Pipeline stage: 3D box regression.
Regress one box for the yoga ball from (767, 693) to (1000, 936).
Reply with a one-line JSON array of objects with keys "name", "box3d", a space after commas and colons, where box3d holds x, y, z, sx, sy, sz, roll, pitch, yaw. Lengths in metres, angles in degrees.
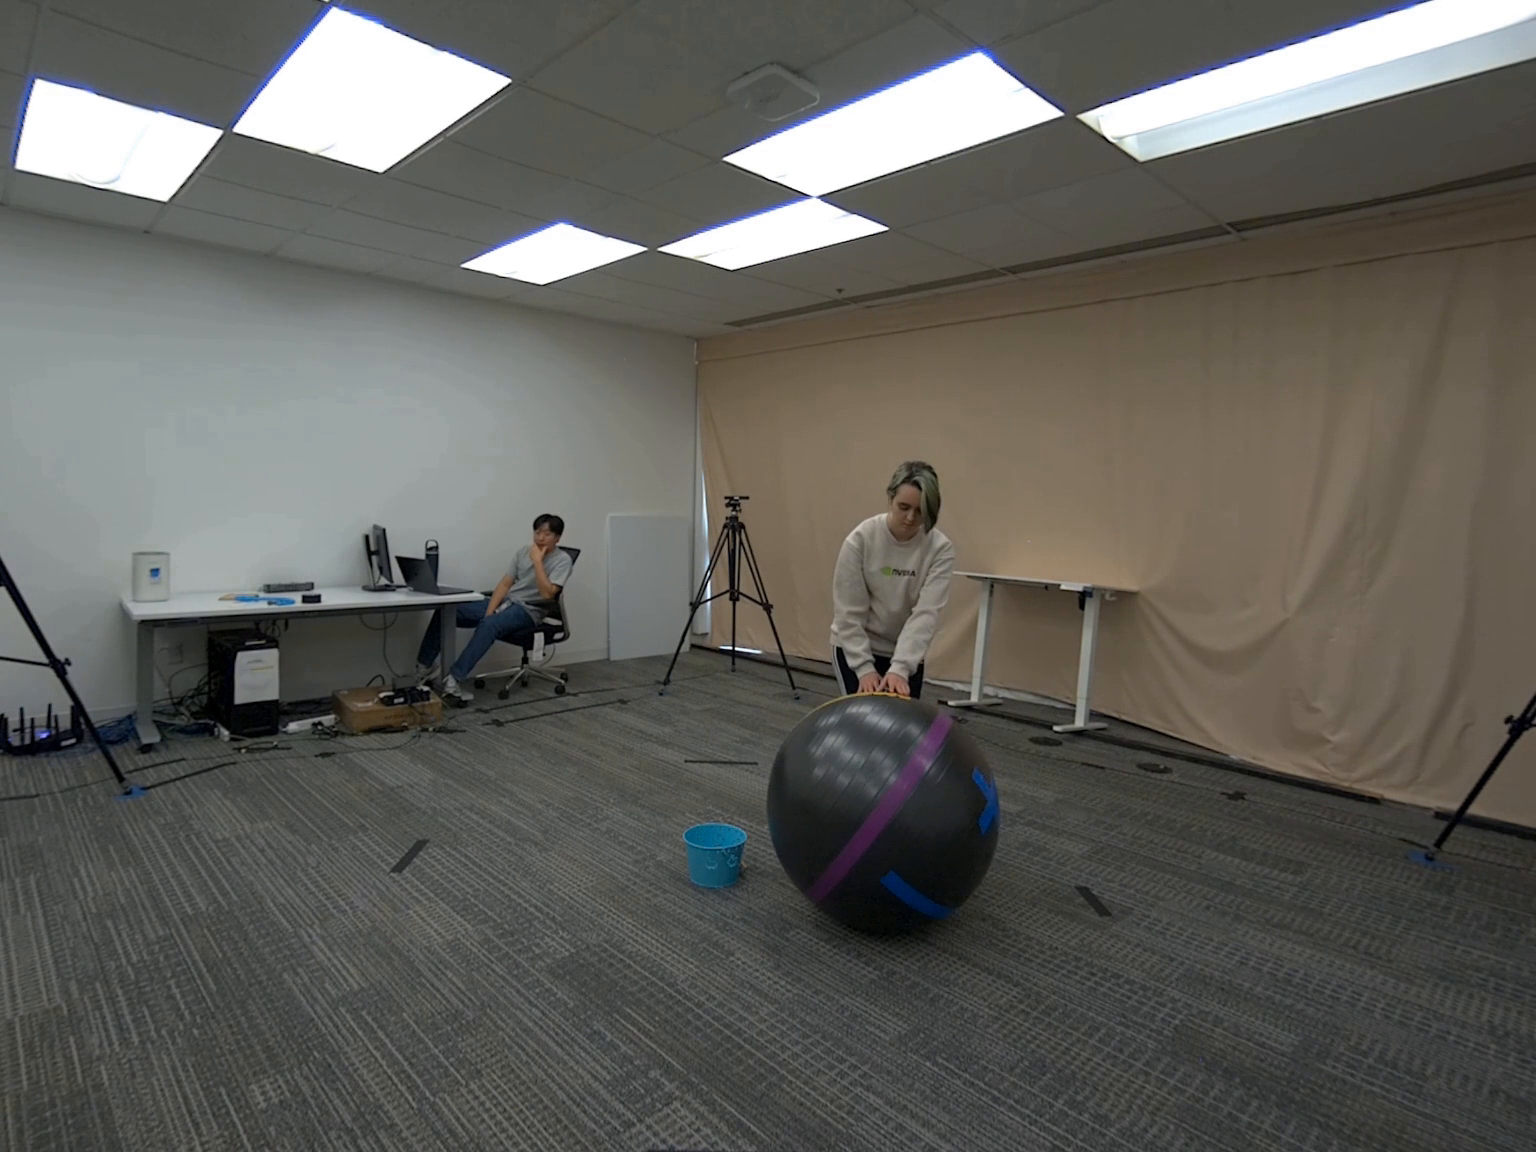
[{"name": "yoga ball", "box3d": [0.373, 0.780, 2.795, 0.757, 0.756, 0.761, 1, 4, -1]}]
